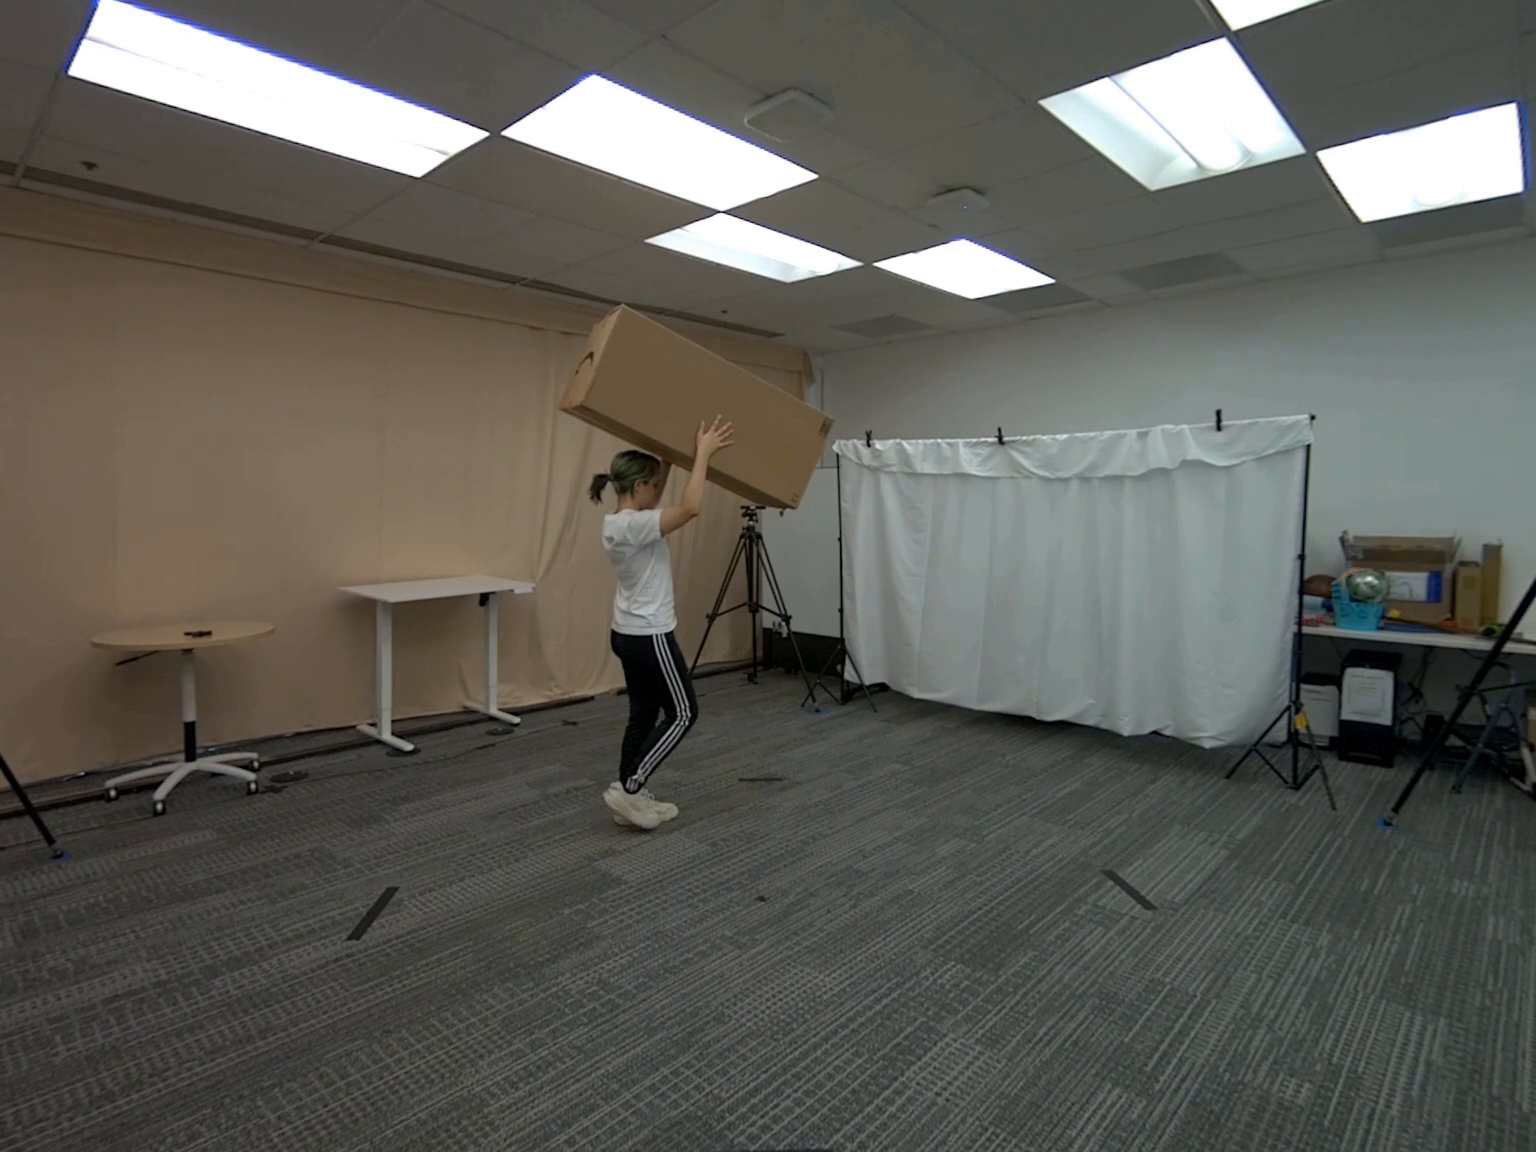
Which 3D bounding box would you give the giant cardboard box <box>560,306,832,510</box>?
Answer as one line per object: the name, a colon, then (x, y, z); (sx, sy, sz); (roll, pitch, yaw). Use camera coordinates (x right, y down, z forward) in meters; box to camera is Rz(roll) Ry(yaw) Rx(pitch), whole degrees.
giant cardboard box: (-0.320, -0.698, 3.674); (1.002, 0.447, 0.598); (25, -3, -22)
